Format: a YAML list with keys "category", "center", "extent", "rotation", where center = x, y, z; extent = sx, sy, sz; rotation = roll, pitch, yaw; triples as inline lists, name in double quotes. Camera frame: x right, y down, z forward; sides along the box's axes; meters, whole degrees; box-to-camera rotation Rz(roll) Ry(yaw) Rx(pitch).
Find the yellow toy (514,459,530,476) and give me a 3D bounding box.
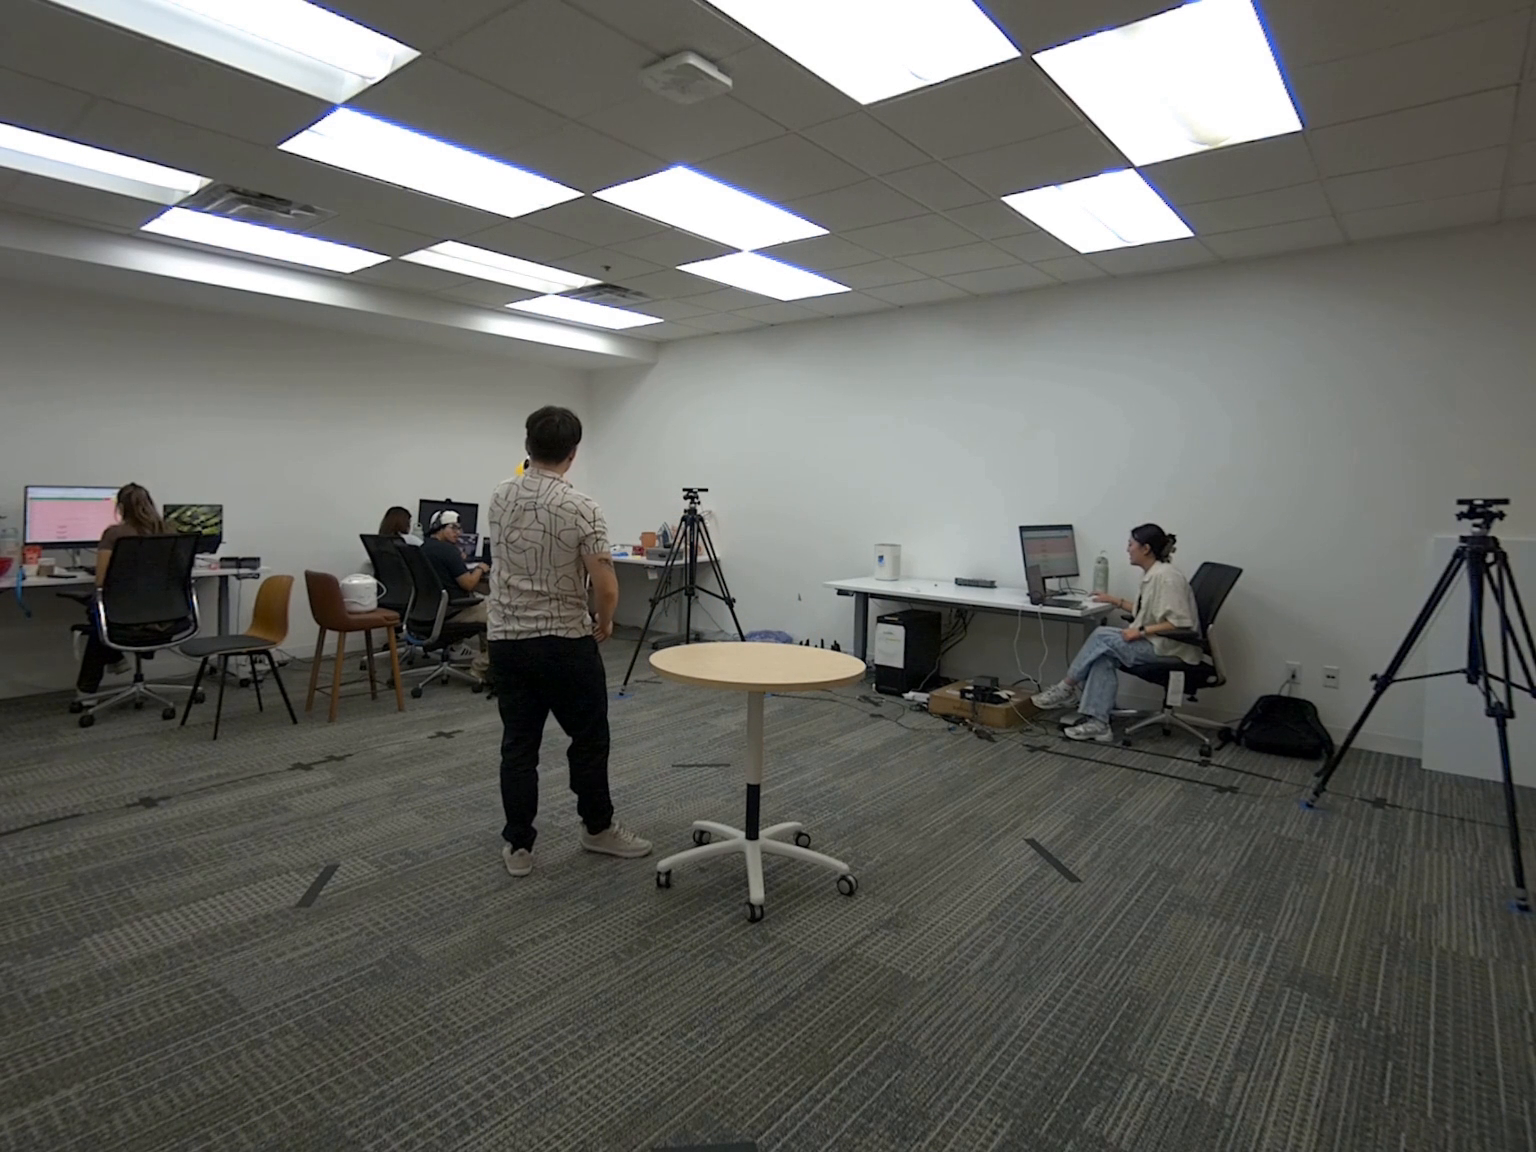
- category: "yellow toy"
  center: [-0.984, -0.459, 3.666]
  extent: [0.200, 0.229, 0.198]
  rotation: [11, 9, -19]
